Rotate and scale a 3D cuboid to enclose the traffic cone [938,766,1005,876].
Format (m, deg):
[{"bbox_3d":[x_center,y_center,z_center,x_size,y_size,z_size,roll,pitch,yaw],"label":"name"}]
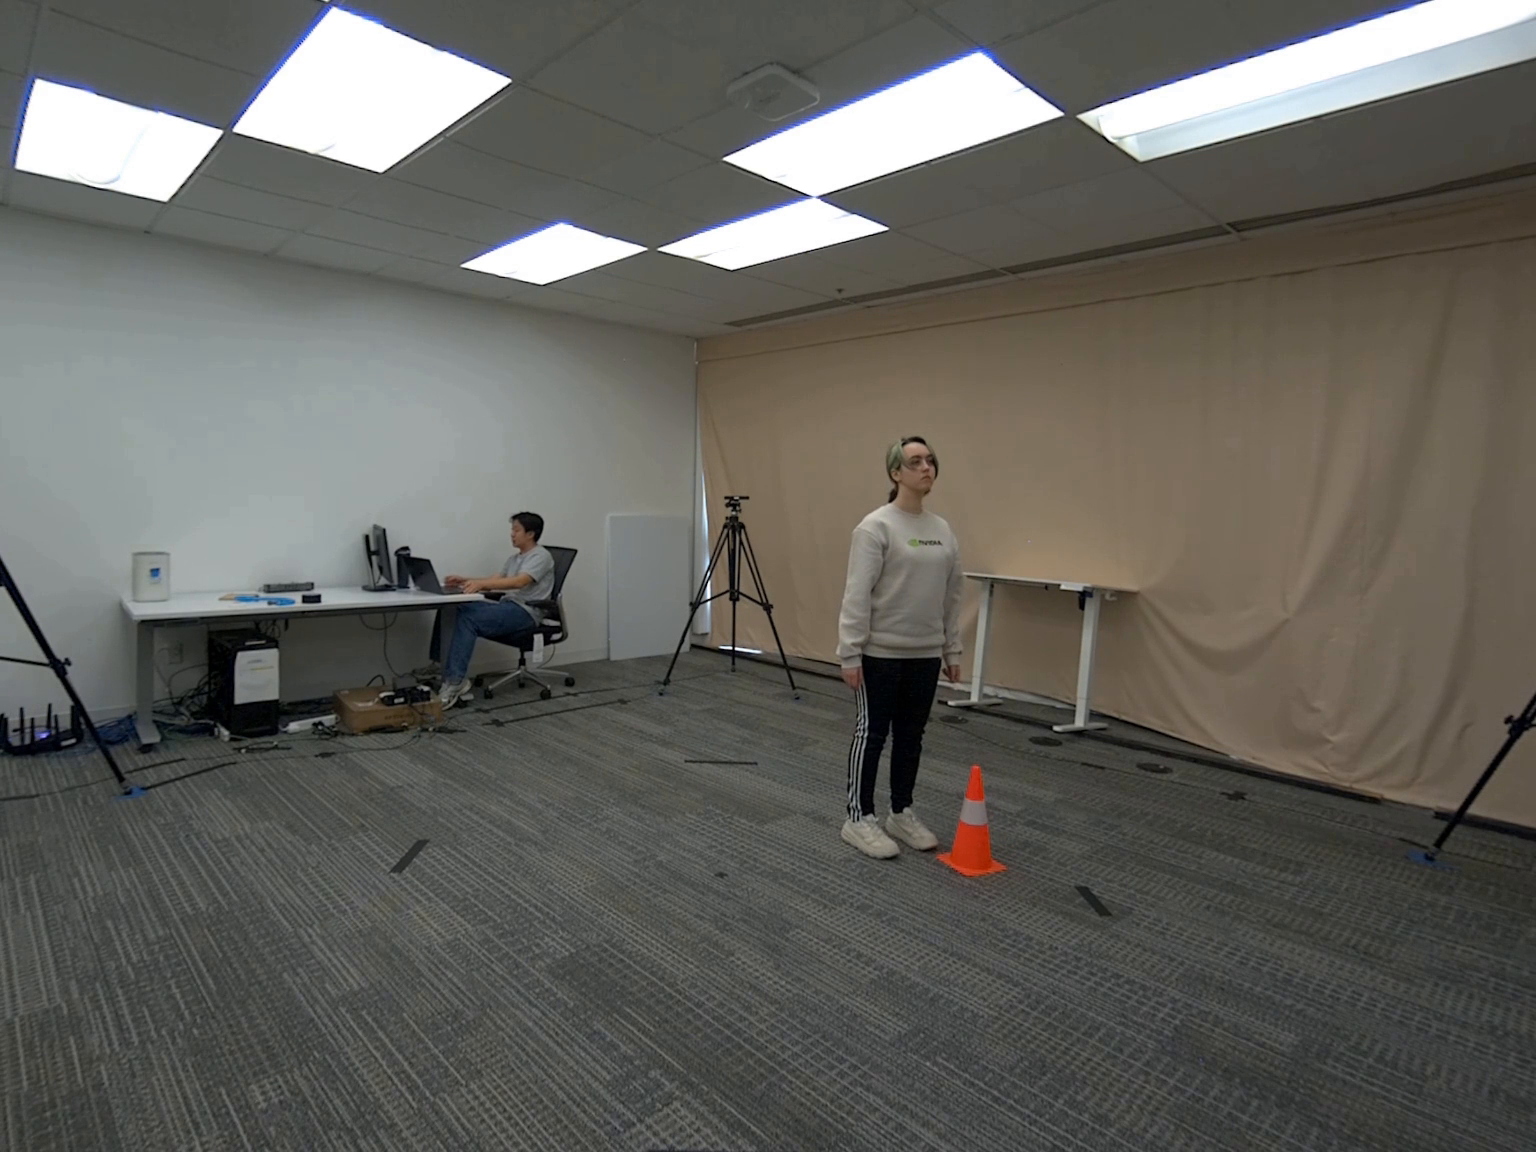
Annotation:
[{"bbox_3d":[0.783,0.926,3.269,0.202,0.383,0.206,0,2,-18],"label":"traffic cone"}]
